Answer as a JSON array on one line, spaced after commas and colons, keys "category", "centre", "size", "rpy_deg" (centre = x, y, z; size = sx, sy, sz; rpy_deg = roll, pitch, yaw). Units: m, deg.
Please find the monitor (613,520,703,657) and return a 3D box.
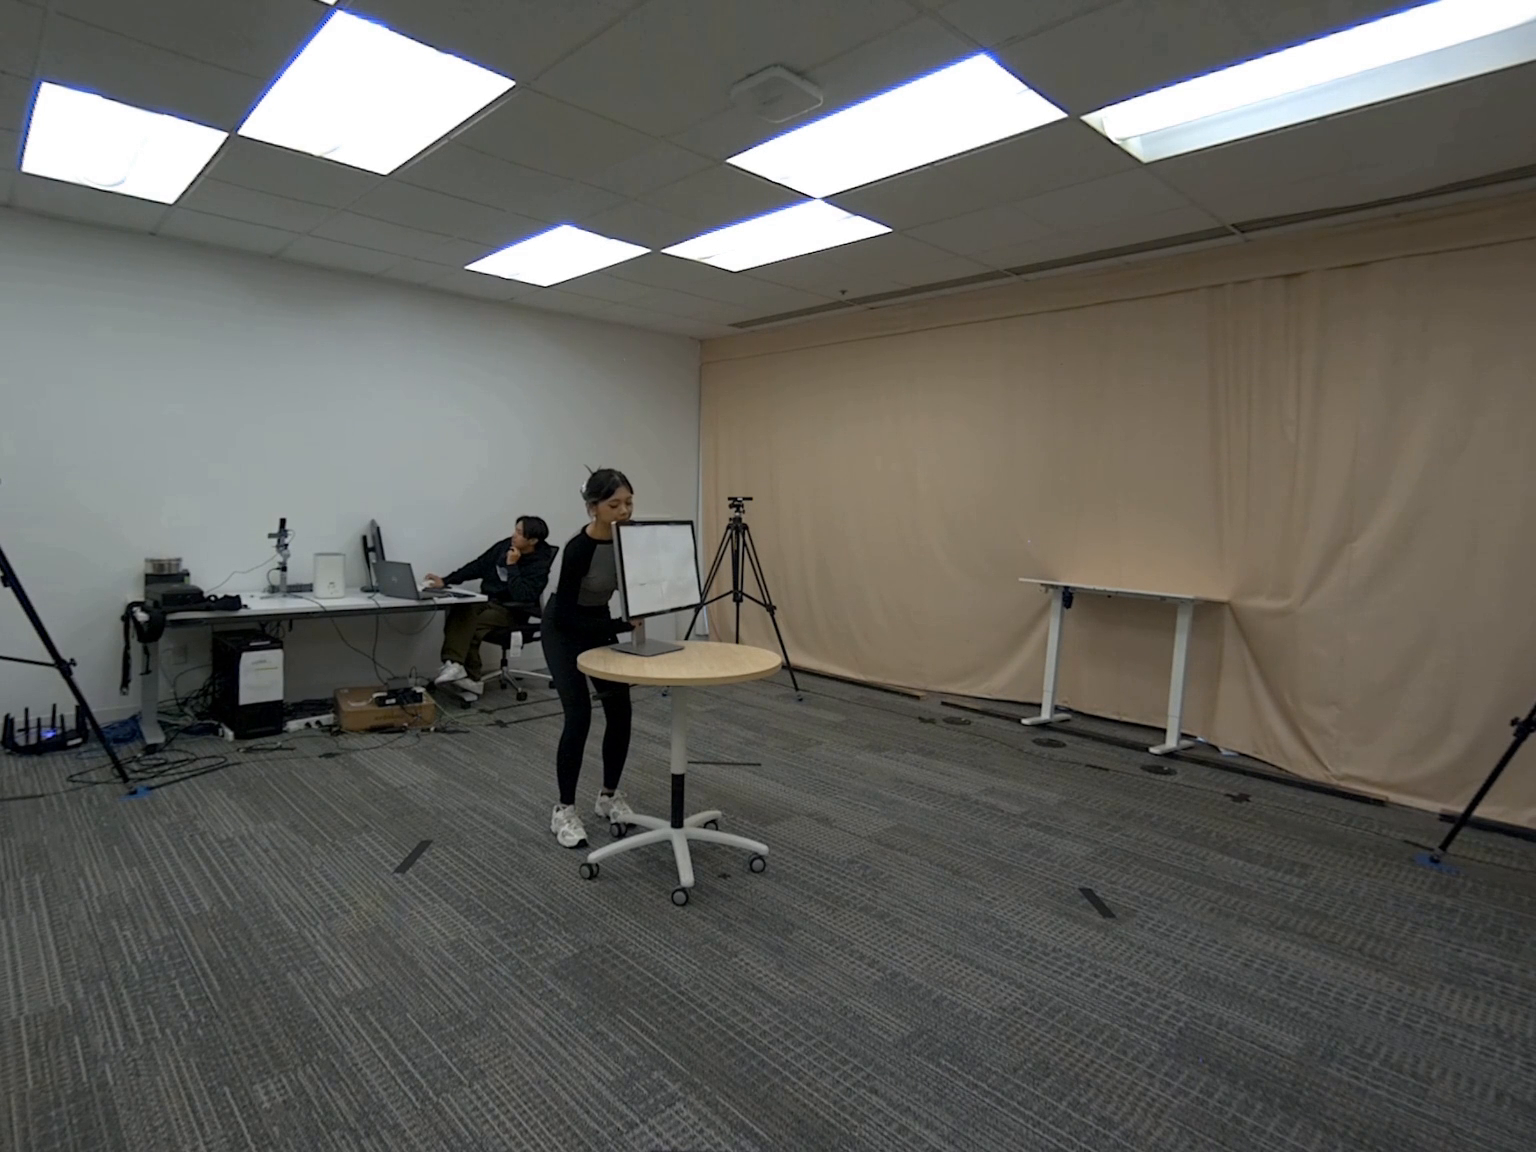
[{"category": "monitor", "centre": [-0.467, 0.044, 3.303], "size": [0.191, 0.520, 0.530], "rpy_deg": [8, 6, 25]}]
